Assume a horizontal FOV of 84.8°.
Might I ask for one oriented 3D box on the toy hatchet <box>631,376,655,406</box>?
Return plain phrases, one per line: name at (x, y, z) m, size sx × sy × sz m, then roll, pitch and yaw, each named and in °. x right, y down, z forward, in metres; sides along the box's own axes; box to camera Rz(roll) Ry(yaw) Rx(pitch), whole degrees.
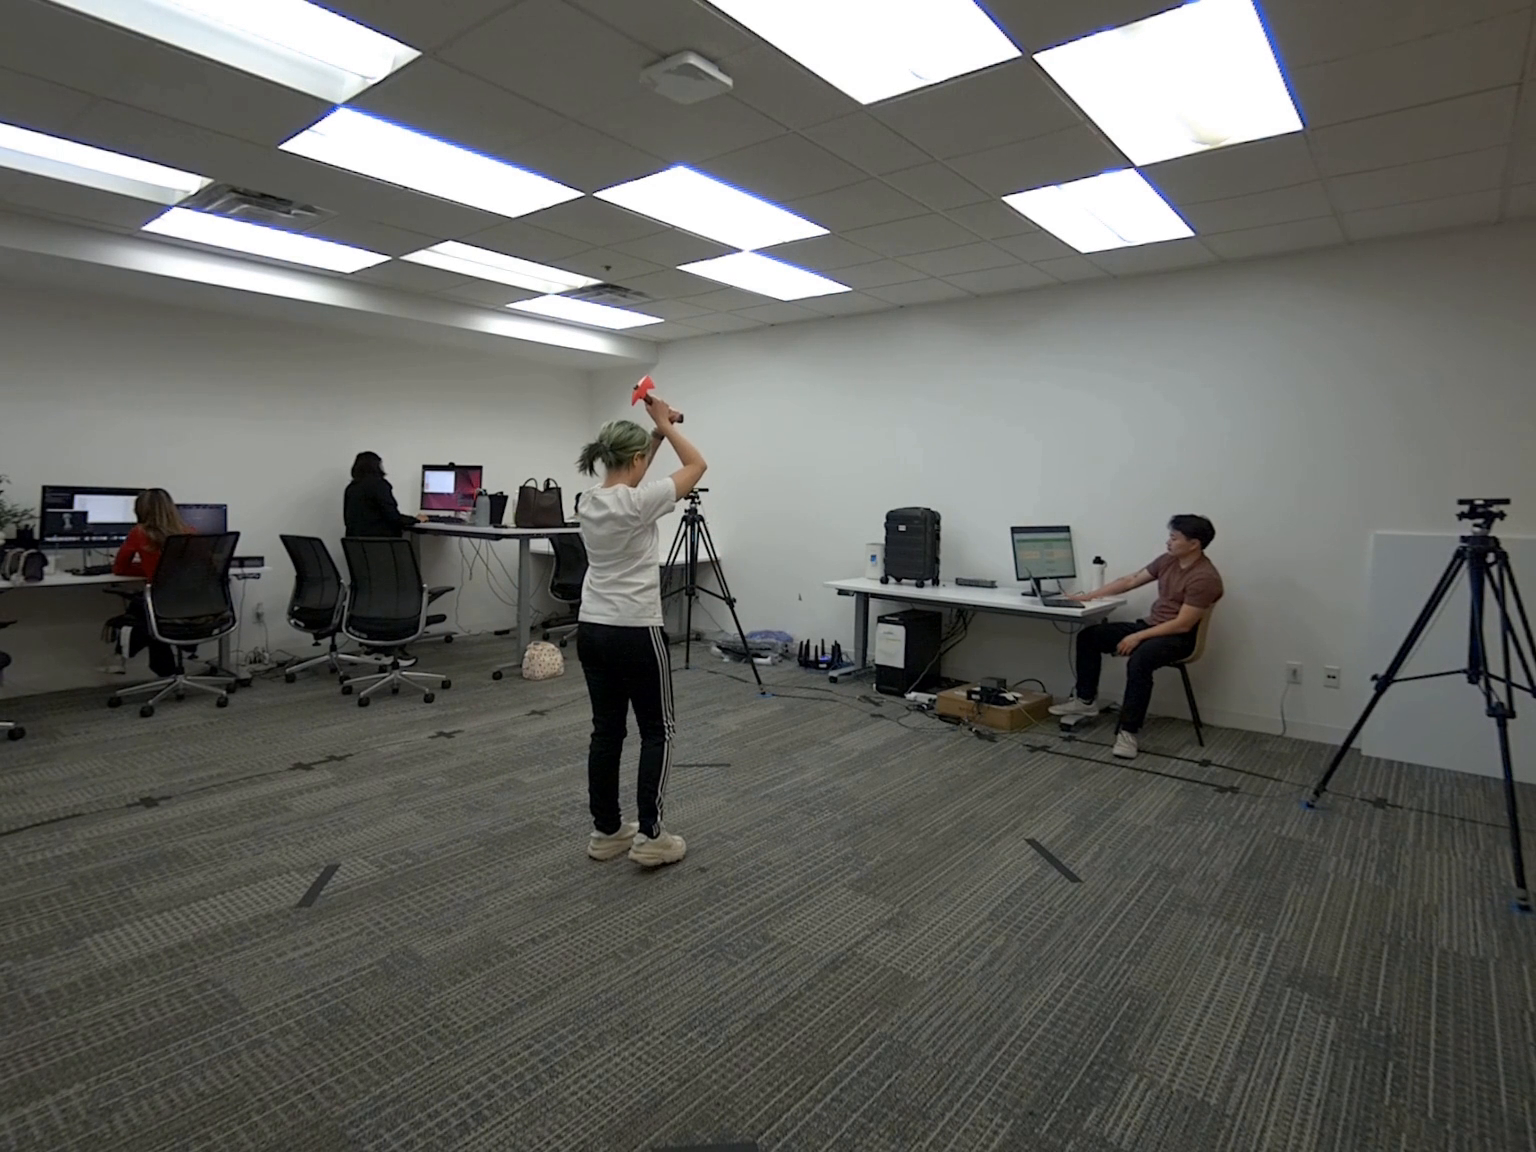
toy hatchet at (-0.428, -0.697, 3.315) m, size 0.030 × 0.131 × 0.260 m, roll 6°, pitch -5°, yaw 42°
